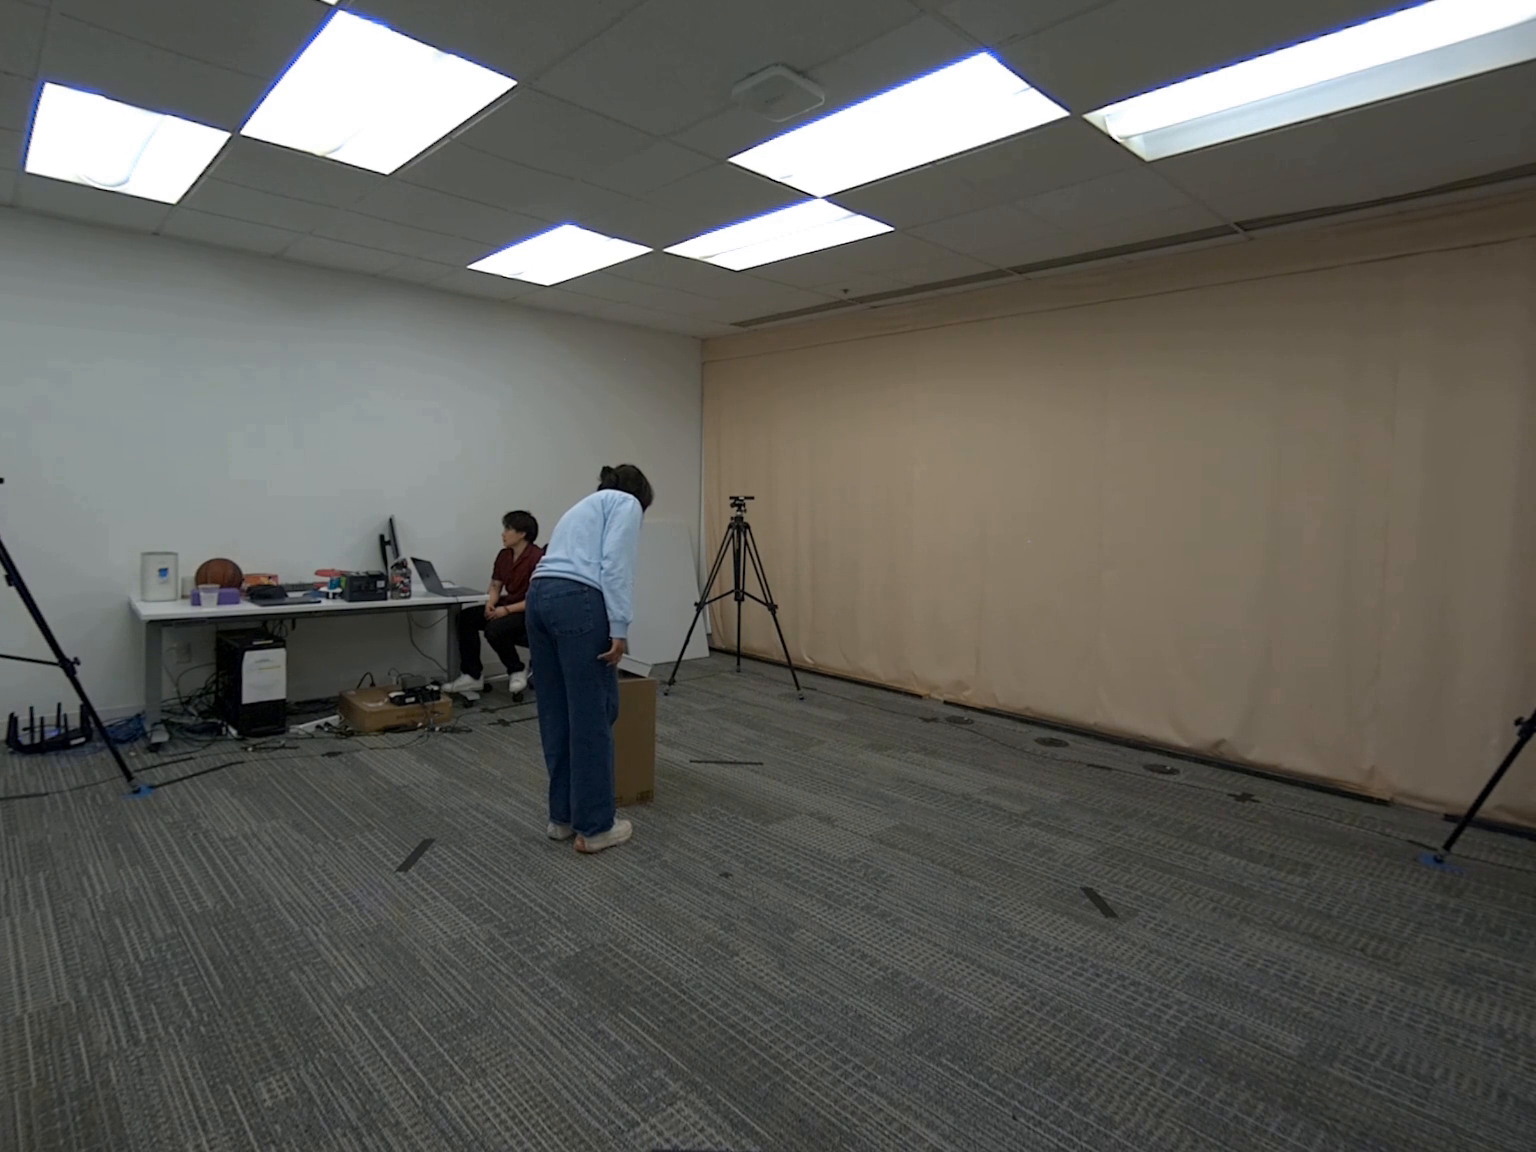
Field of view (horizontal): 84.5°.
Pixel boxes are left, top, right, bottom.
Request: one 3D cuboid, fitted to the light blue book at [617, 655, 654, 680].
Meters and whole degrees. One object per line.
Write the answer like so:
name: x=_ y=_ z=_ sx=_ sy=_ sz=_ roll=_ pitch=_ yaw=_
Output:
light blue book: x=-0.677 y=0.397 z=3.922 sx=0.186 sy=0.059 sz=0.267 roll=23 pitch=-7 yaw=-30
